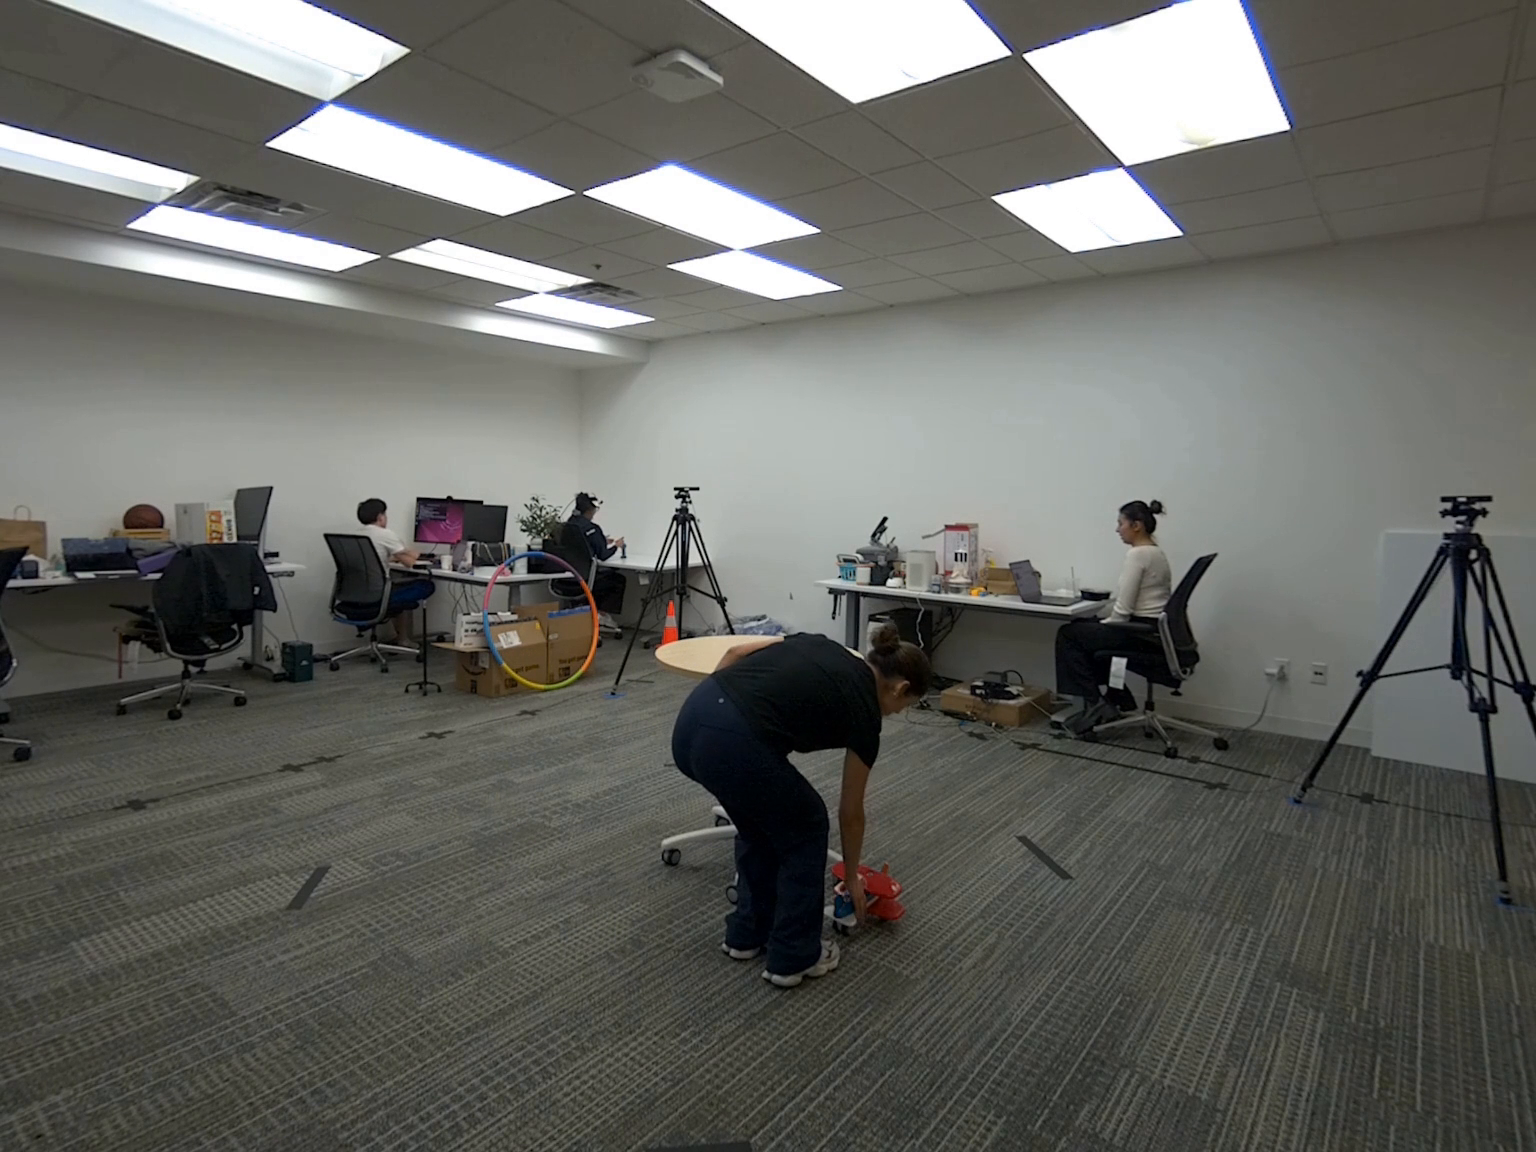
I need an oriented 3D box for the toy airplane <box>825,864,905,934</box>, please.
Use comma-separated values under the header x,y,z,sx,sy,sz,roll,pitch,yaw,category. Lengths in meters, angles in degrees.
x,y,z,sx,sy,sz,roll,pitch,yaw,category
0.321,1.041,2.732,0.256,0.156,0.255,3,3,16,toy airplane
